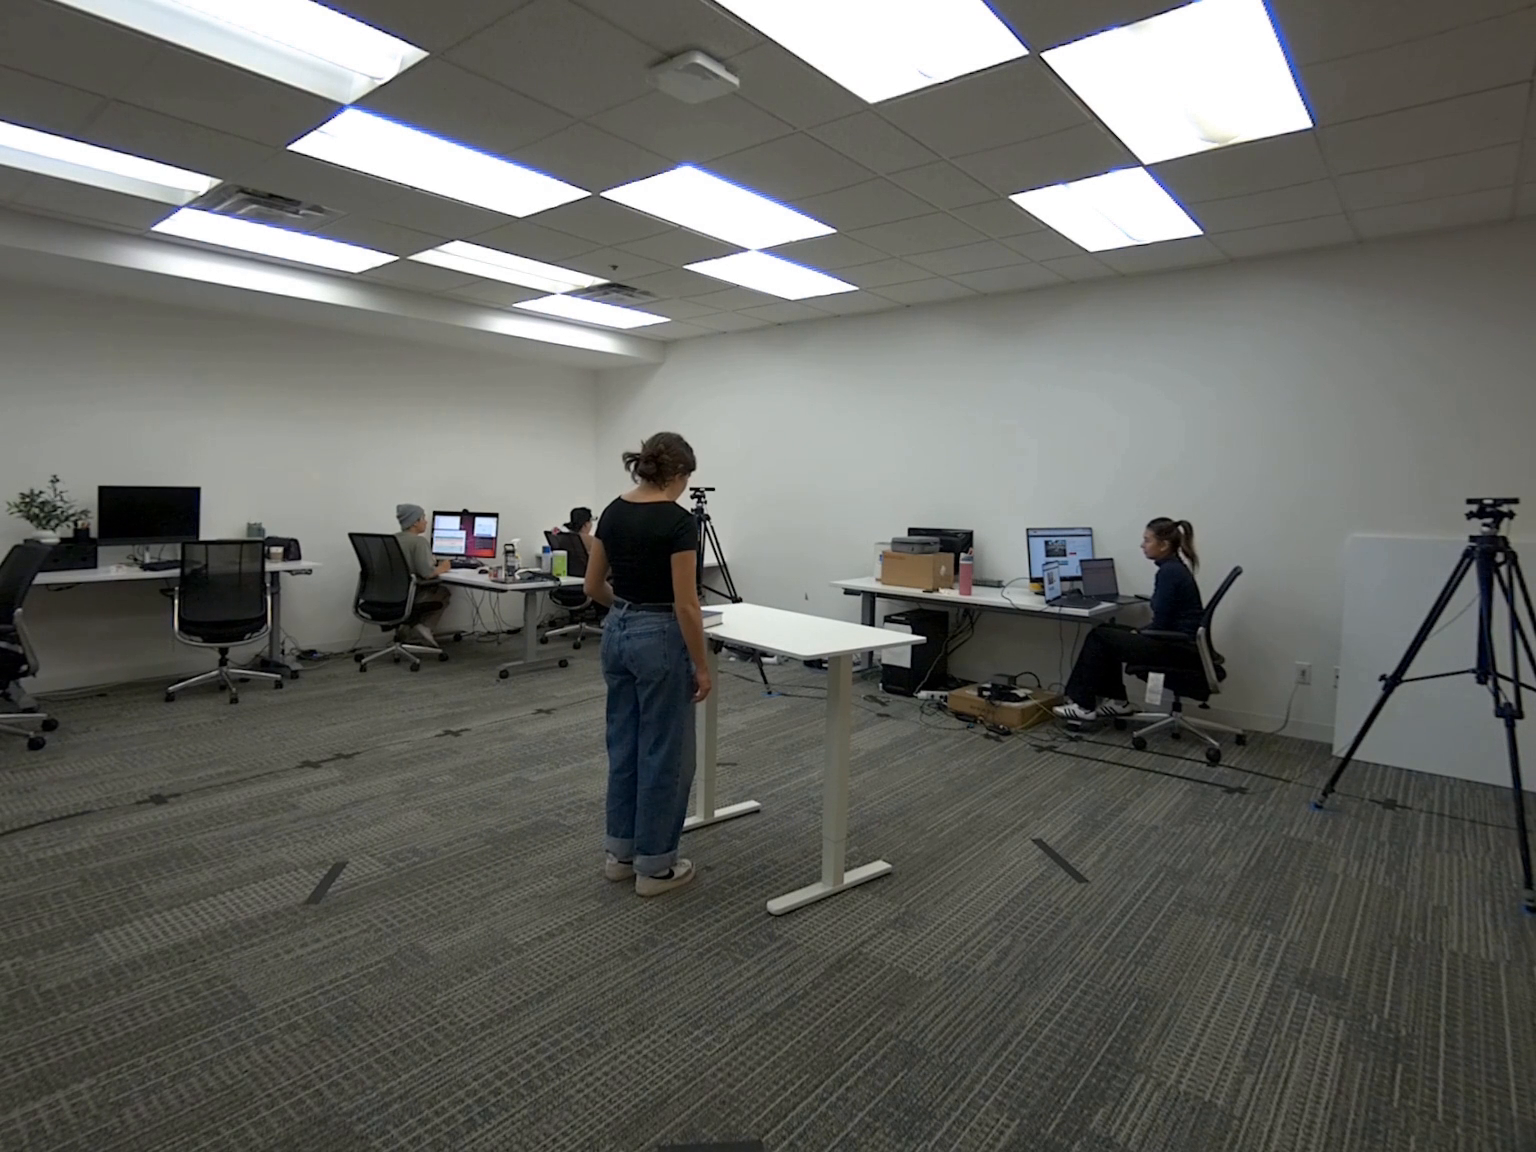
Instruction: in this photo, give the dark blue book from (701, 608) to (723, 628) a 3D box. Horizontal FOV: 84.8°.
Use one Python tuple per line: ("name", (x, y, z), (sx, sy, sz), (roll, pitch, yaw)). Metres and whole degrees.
("dark blue book", (-0.314, 0.159, 3.180), (0.251, 0.045, 0.160), (4, 9, 25))
